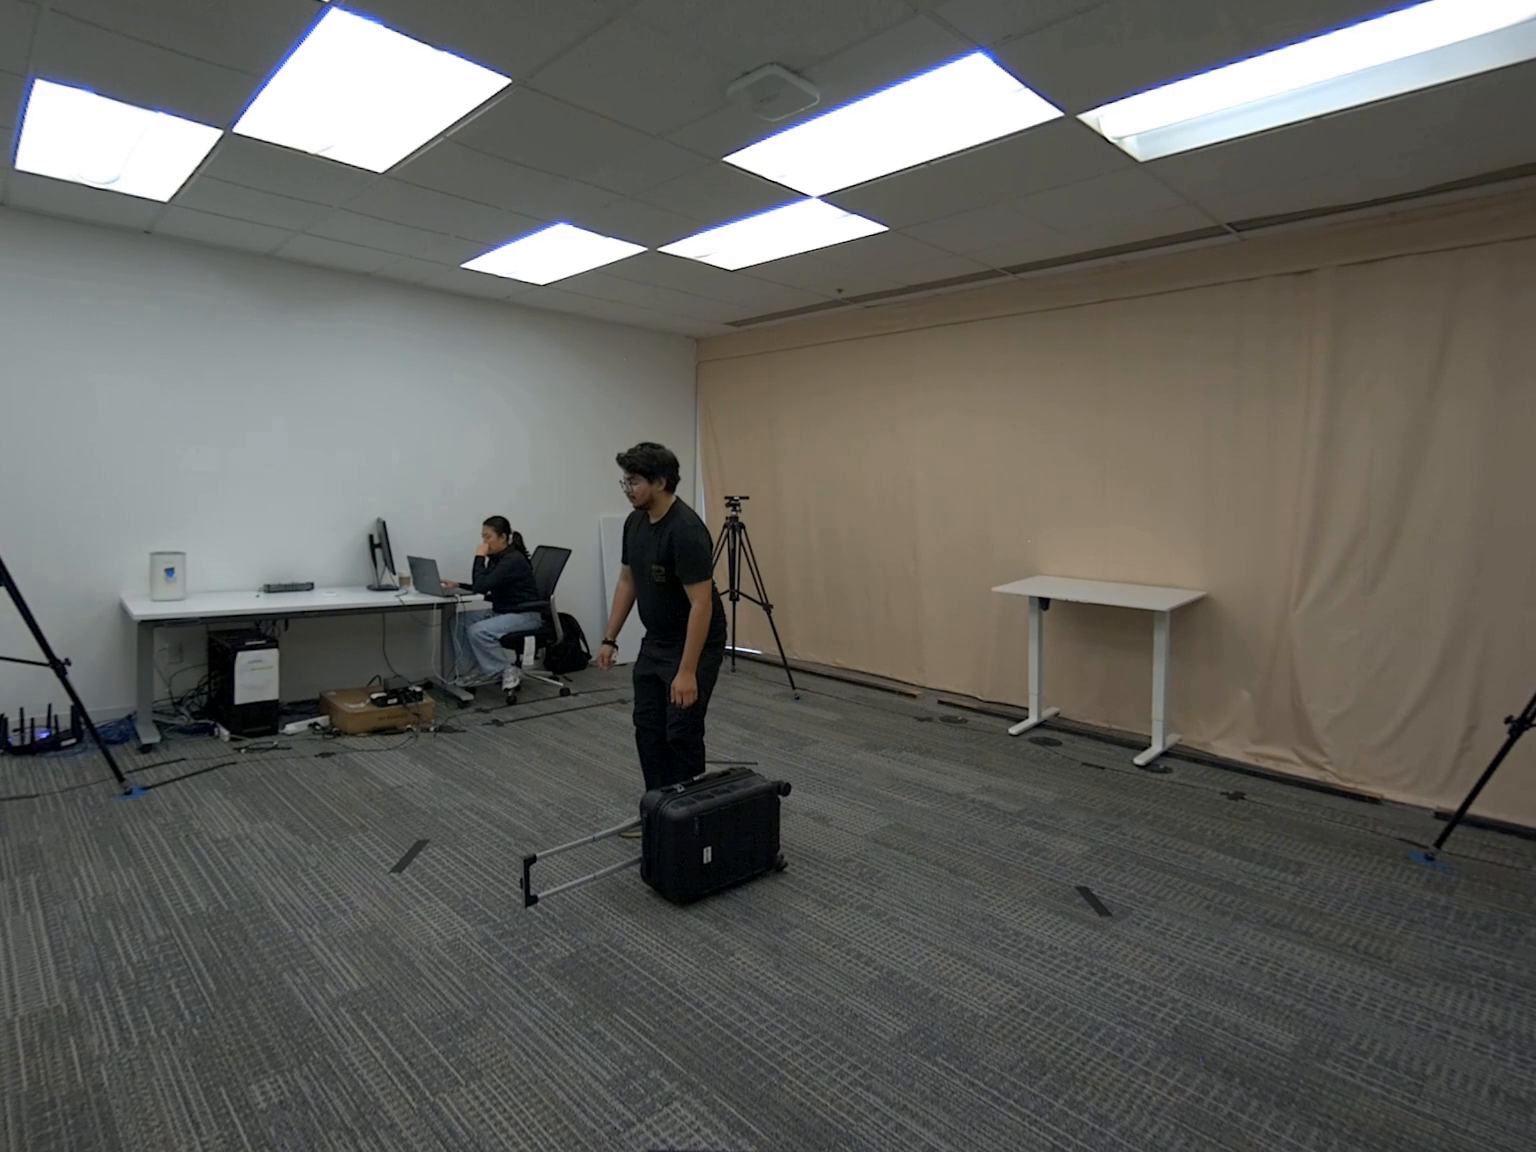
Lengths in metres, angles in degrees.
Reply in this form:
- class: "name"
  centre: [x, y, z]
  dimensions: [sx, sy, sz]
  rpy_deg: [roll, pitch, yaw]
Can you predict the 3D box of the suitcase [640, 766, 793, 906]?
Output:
- class: "suitcase"
  centre: [-0.346, 0.932, 2.890]
  dimensions: [0.957, 0.383, 0.264]
  rpy_deg: [-4, 7, -44]
